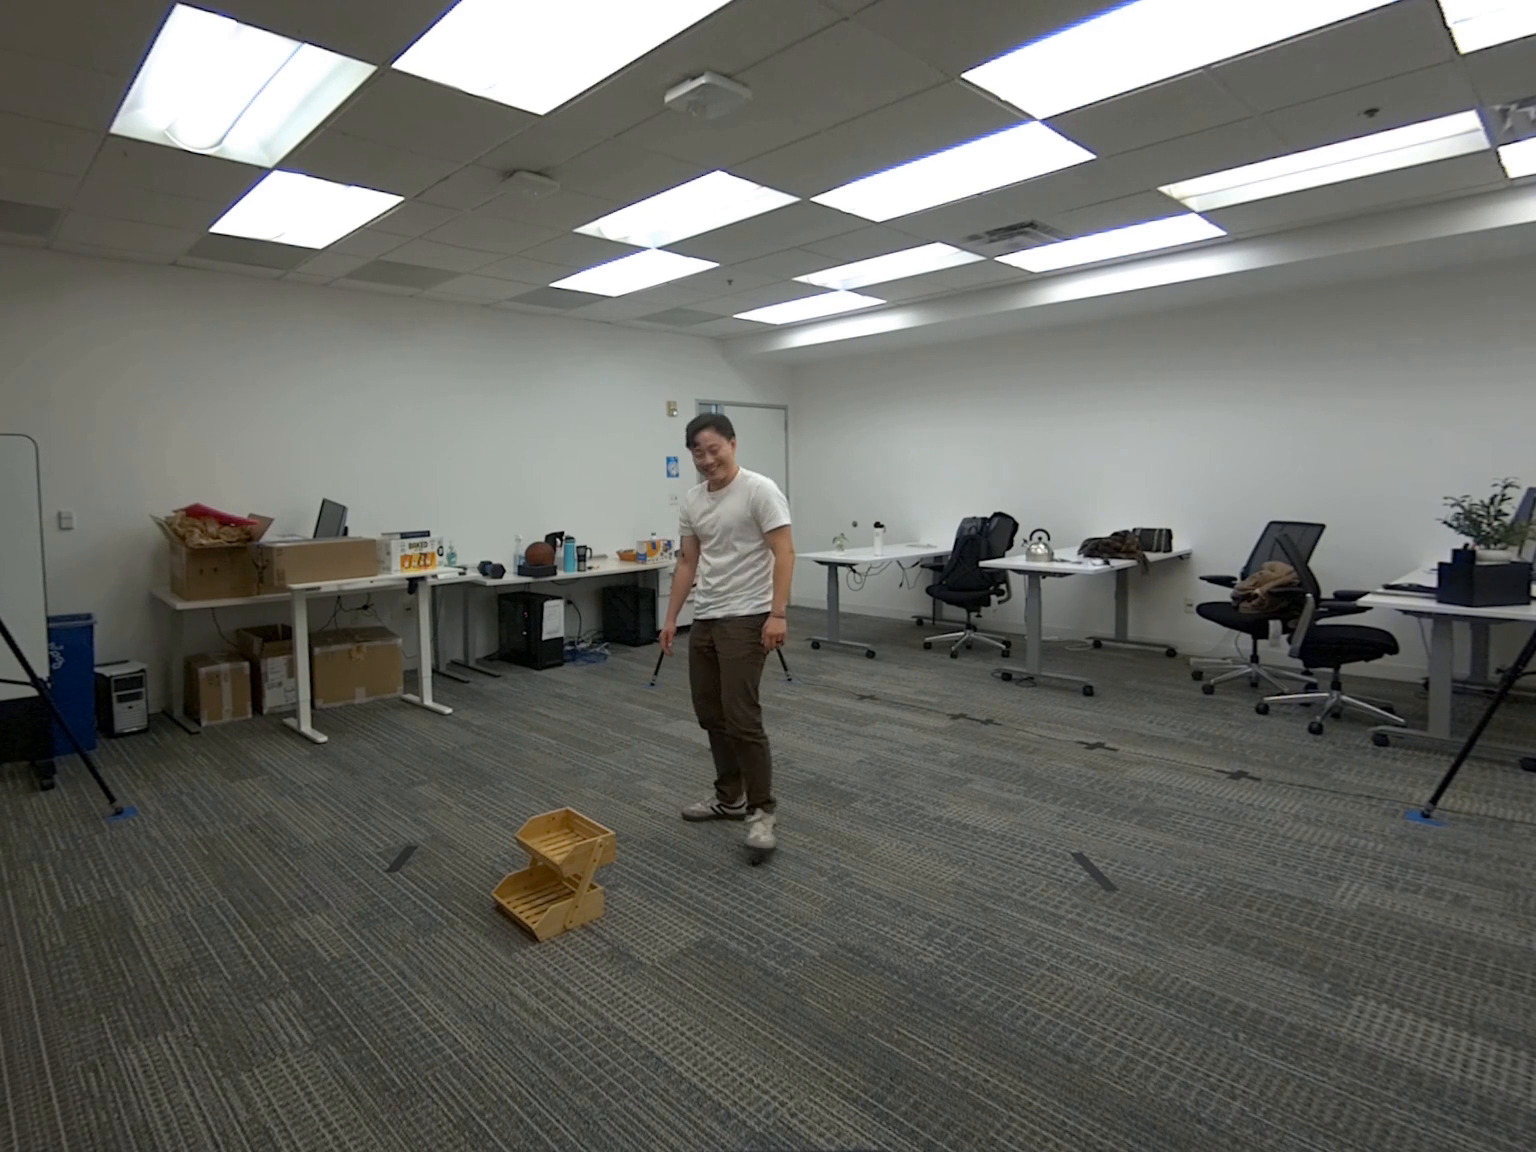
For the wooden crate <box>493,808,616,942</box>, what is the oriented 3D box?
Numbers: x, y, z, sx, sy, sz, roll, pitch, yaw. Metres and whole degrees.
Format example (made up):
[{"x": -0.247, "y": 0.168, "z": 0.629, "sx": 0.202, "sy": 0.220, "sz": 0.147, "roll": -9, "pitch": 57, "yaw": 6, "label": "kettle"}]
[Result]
[{"x": -0.705, "y": 0.961, "z": 2.795, "sx": 0.294, "sy": 0.272, "sz": 0.334, "roll": -5, "pitch": 6, "yaw": -42, "label": "wooden crate"}]
